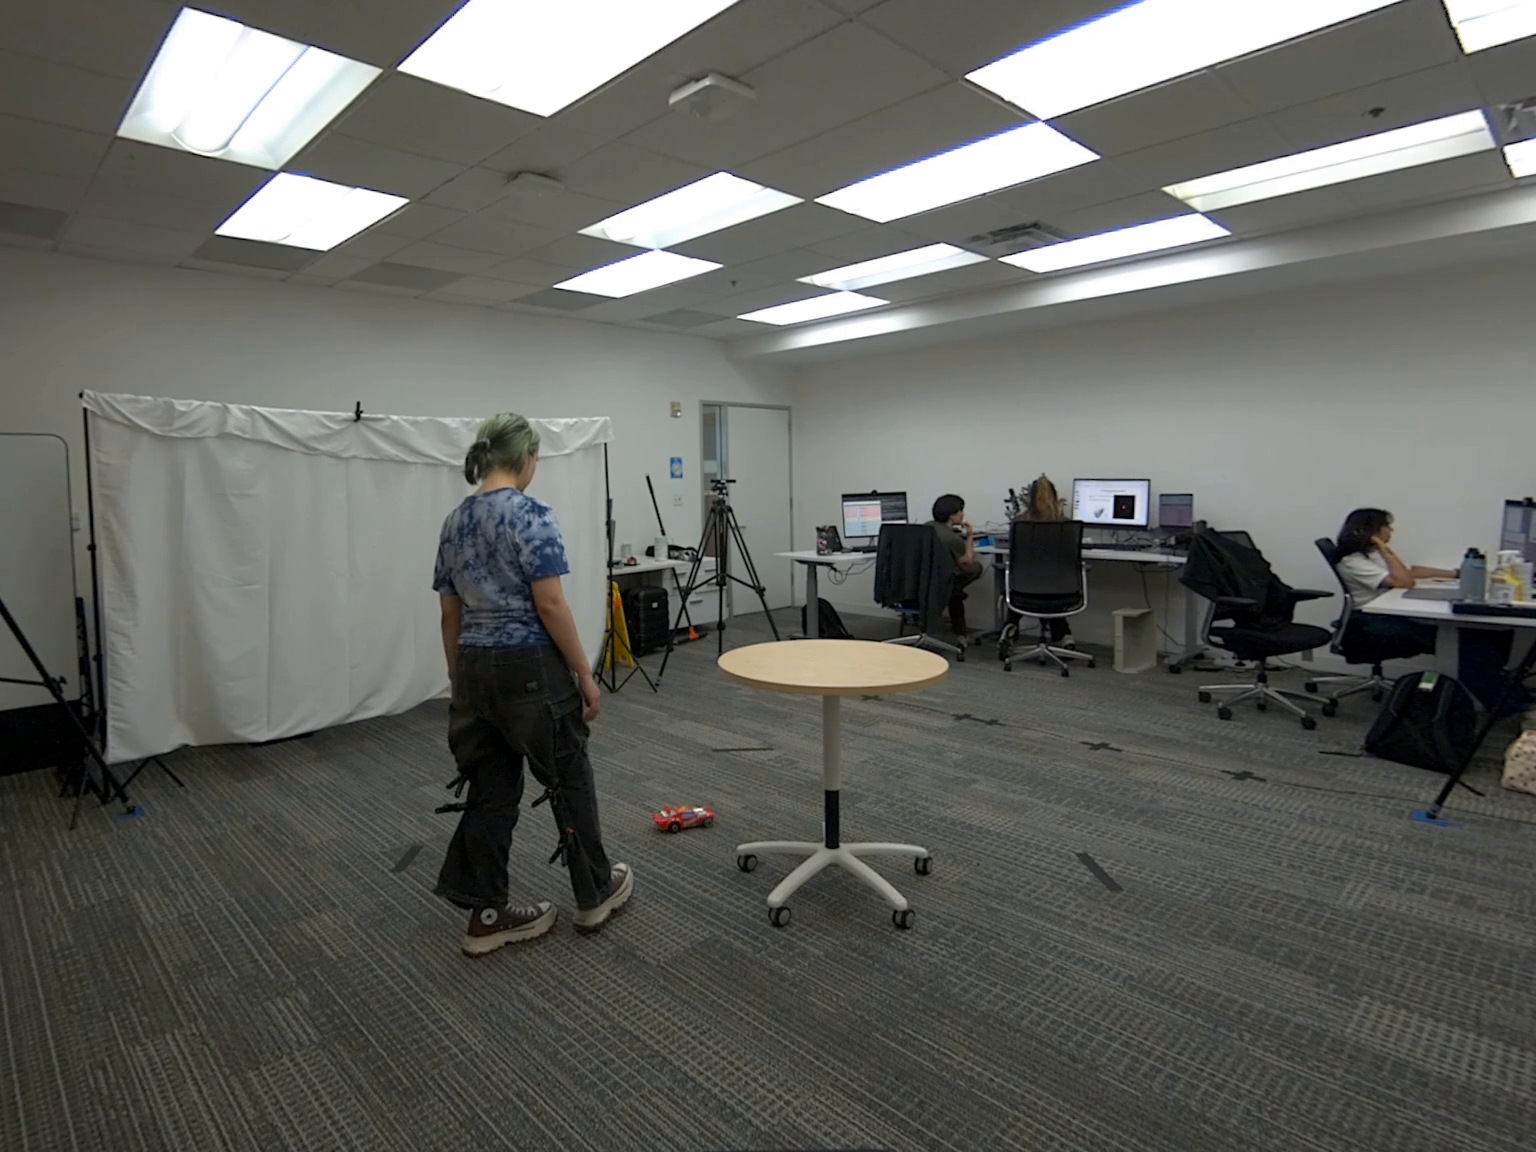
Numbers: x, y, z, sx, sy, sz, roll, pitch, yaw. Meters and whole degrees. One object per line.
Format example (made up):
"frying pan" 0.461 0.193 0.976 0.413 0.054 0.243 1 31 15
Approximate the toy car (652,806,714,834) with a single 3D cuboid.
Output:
"toy car" -0.351 0.979 3.454 0.249 0.083 0.133 9 0 -23
